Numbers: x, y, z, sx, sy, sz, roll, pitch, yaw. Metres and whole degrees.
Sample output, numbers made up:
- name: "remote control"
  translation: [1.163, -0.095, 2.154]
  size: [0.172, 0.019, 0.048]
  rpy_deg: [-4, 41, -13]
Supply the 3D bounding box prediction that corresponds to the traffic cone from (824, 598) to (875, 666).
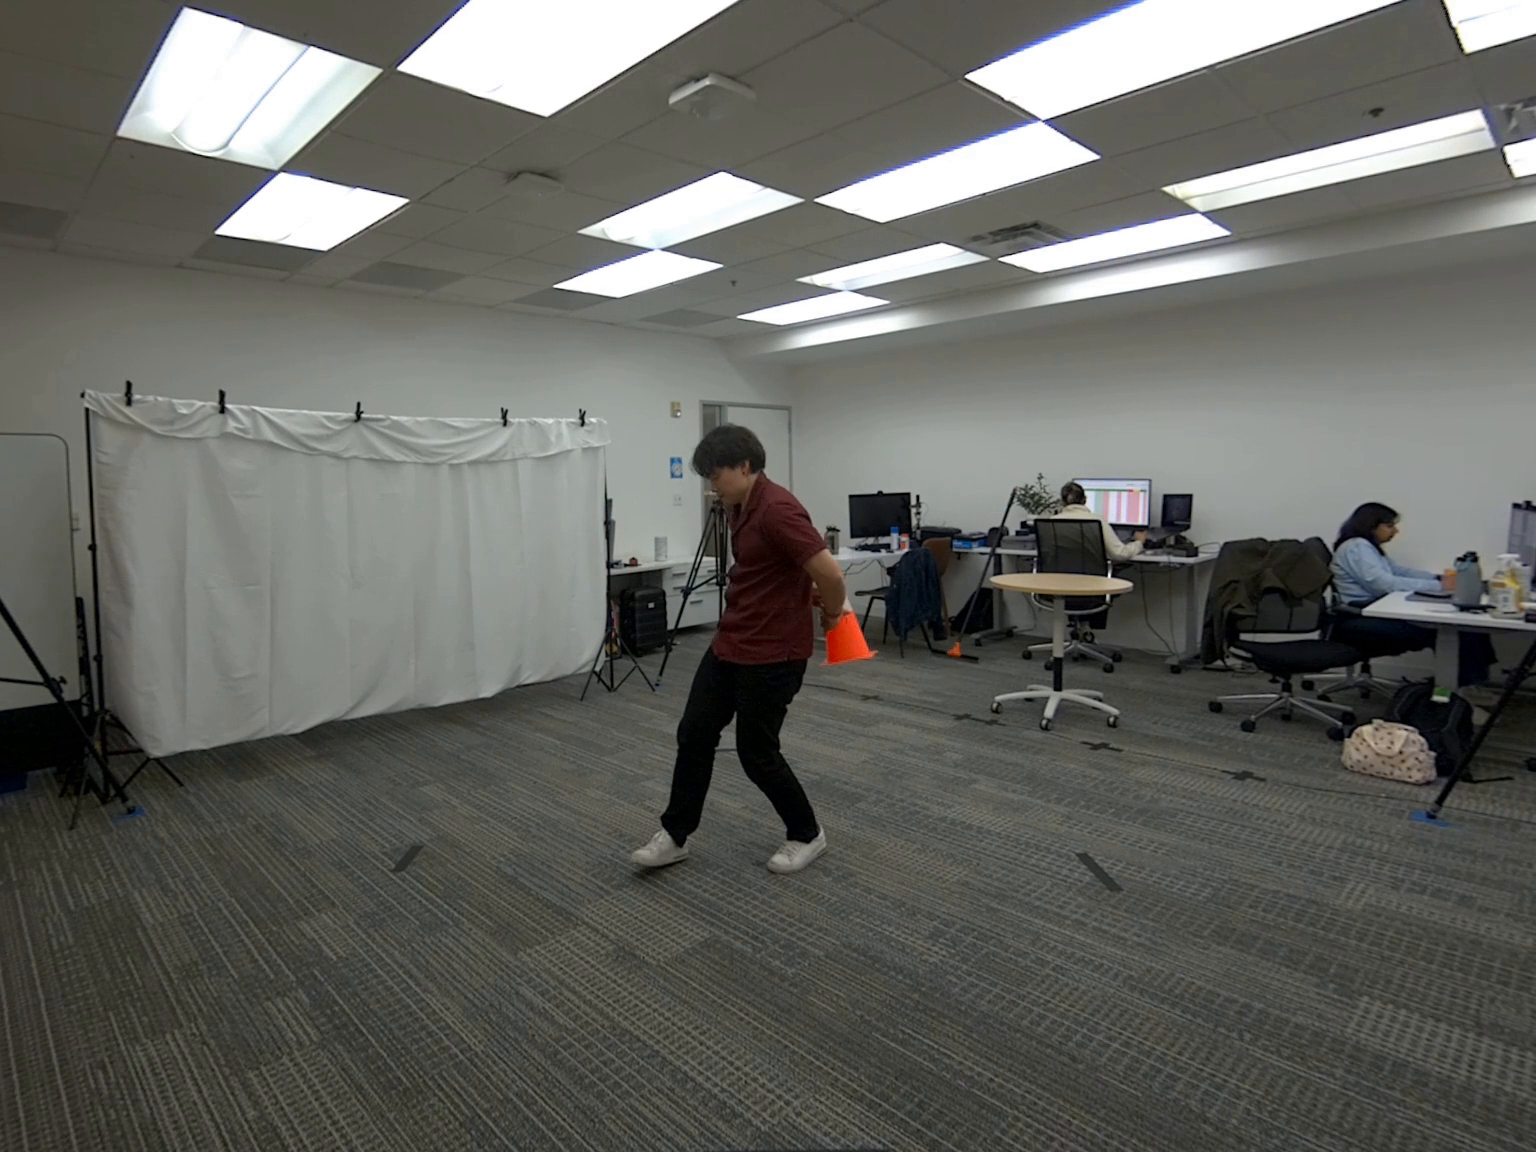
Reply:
- name: "traffic cone"
  translation: [0.252, 0.117, 3.129]
  size: [0.208, 0.385, 0.200]
  rpy_deg: [-12, -3, 18]
